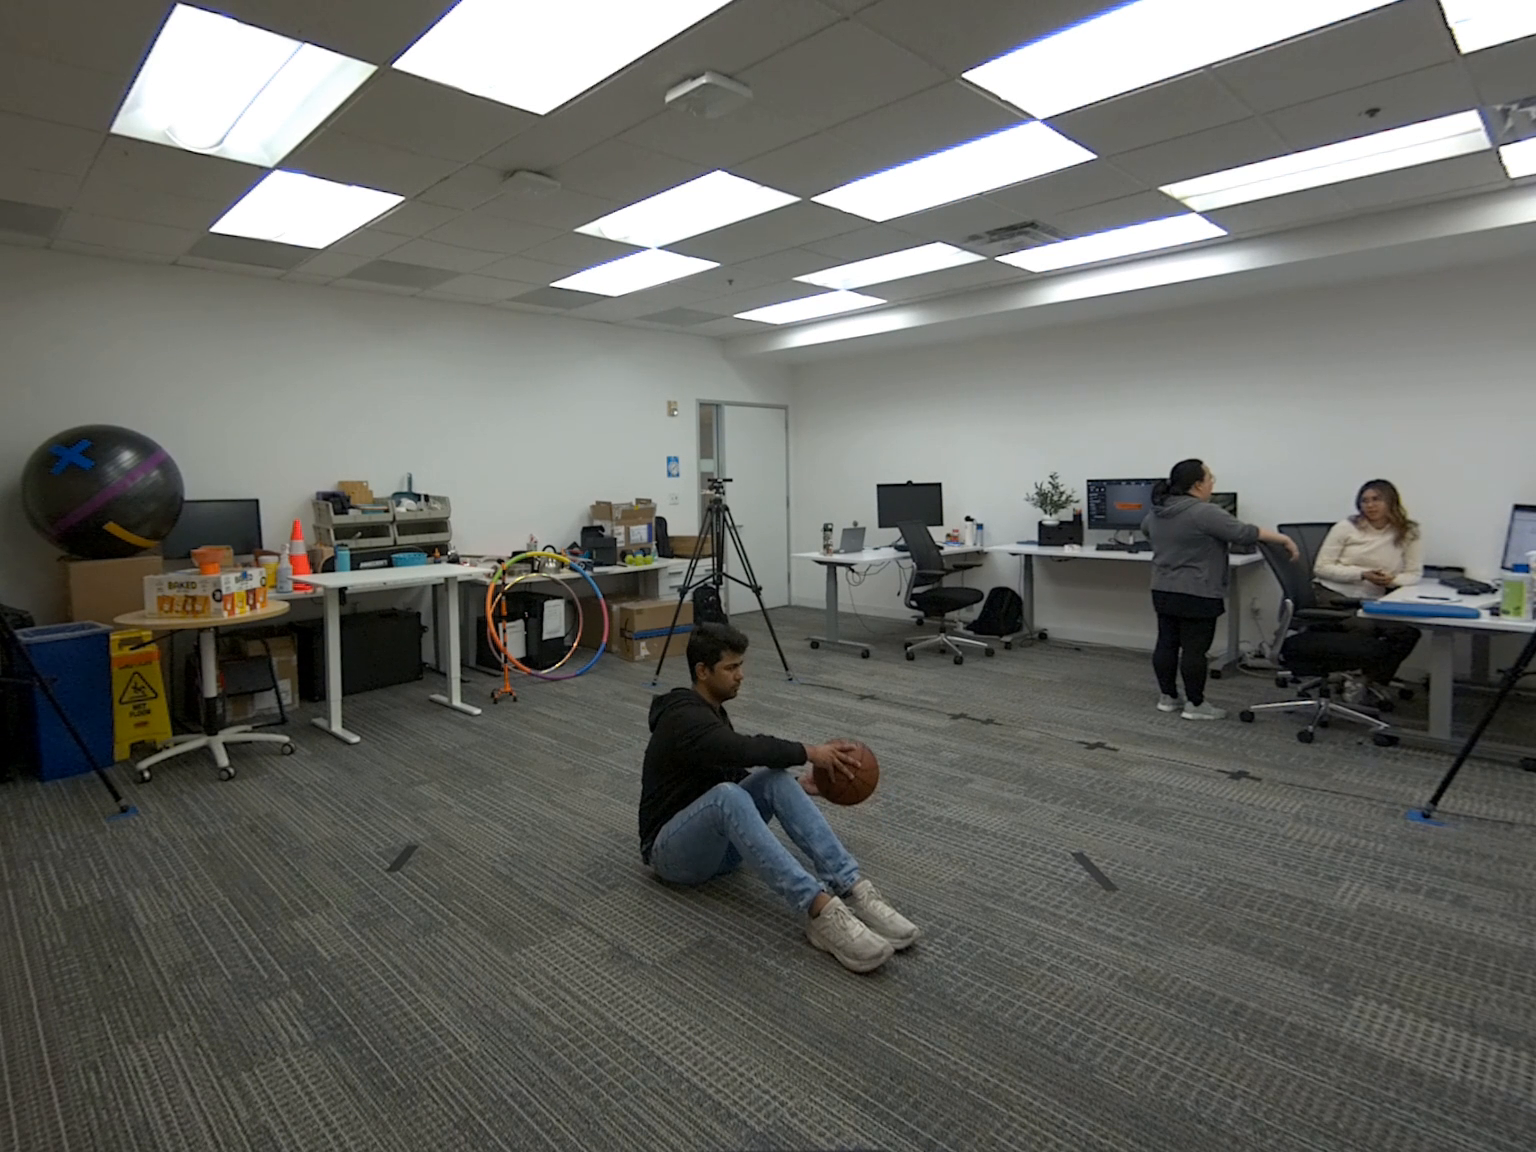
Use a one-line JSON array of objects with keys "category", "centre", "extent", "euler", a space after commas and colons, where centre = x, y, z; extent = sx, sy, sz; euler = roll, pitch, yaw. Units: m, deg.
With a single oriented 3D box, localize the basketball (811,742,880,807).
[{"category": "basketball", "centre": [0.272, 0.701, 3.069], "extent": [0.236, 0.235, 0.237], "euler": [-1, 5, -2]}]
